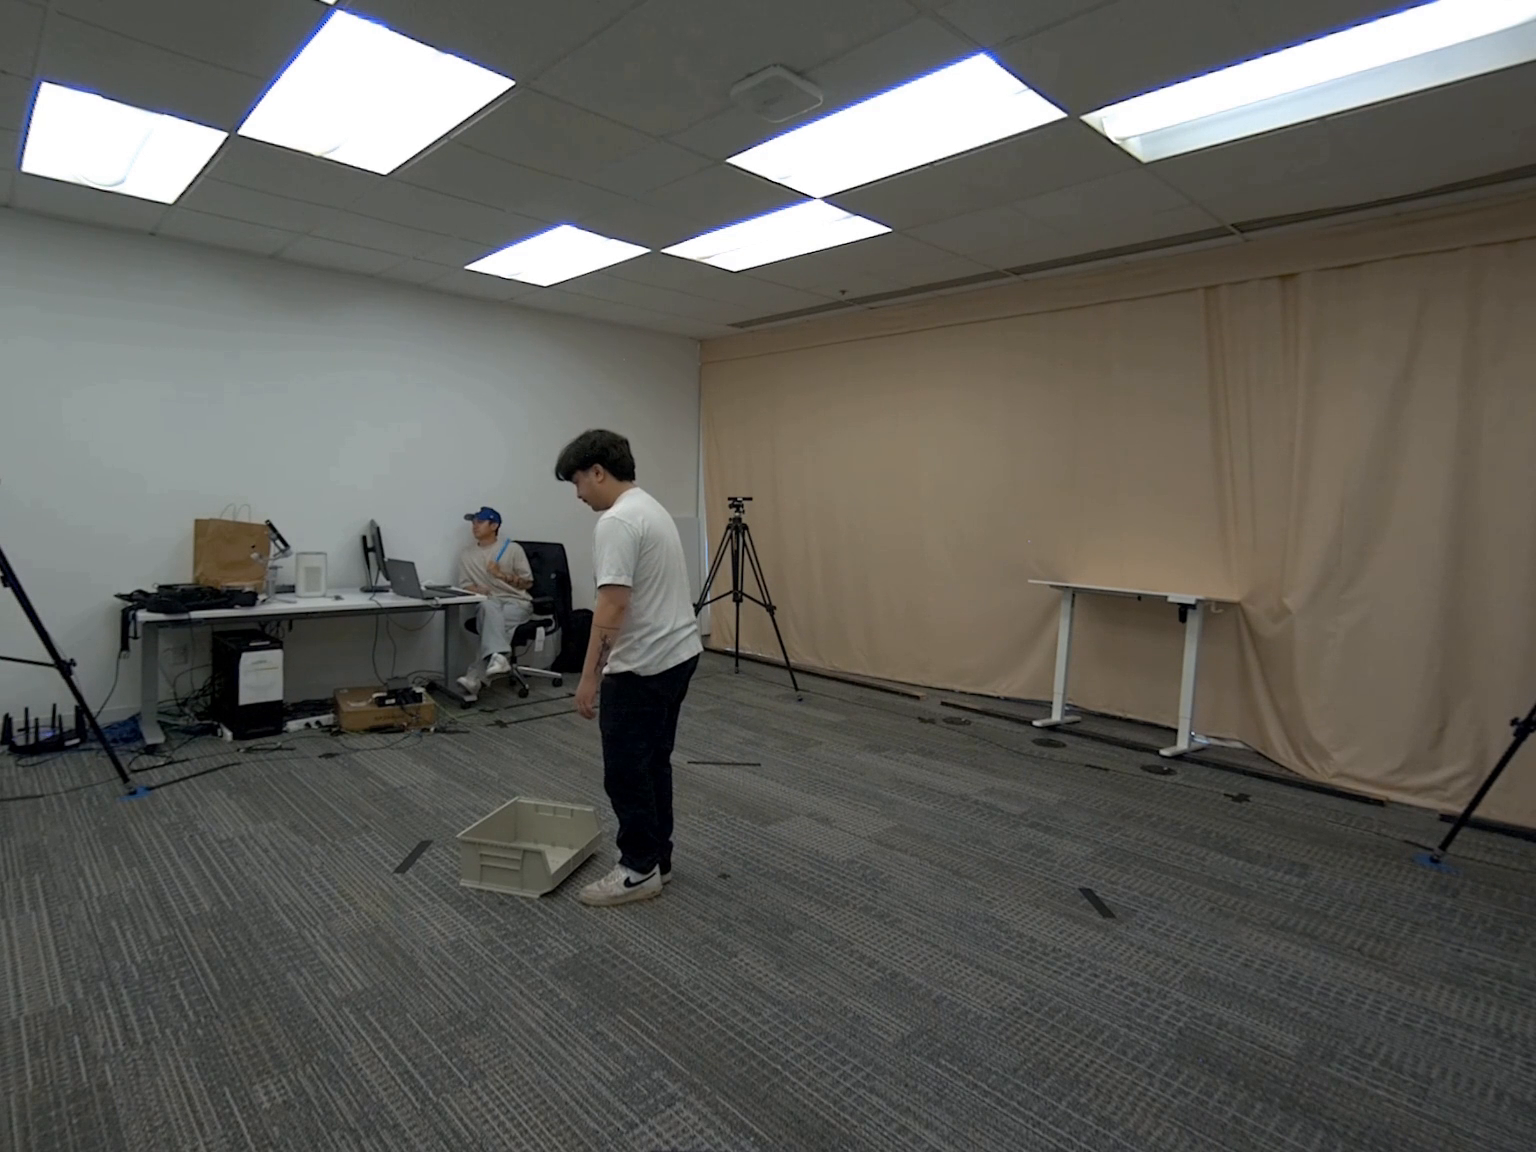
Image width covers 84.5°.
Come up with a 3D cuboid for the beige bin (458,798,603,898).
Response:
[{"bbox_3d":[-0.881,0.999,3.128,0.382,0.188,0.419,1,6,14],"label":"beige bin"}]
